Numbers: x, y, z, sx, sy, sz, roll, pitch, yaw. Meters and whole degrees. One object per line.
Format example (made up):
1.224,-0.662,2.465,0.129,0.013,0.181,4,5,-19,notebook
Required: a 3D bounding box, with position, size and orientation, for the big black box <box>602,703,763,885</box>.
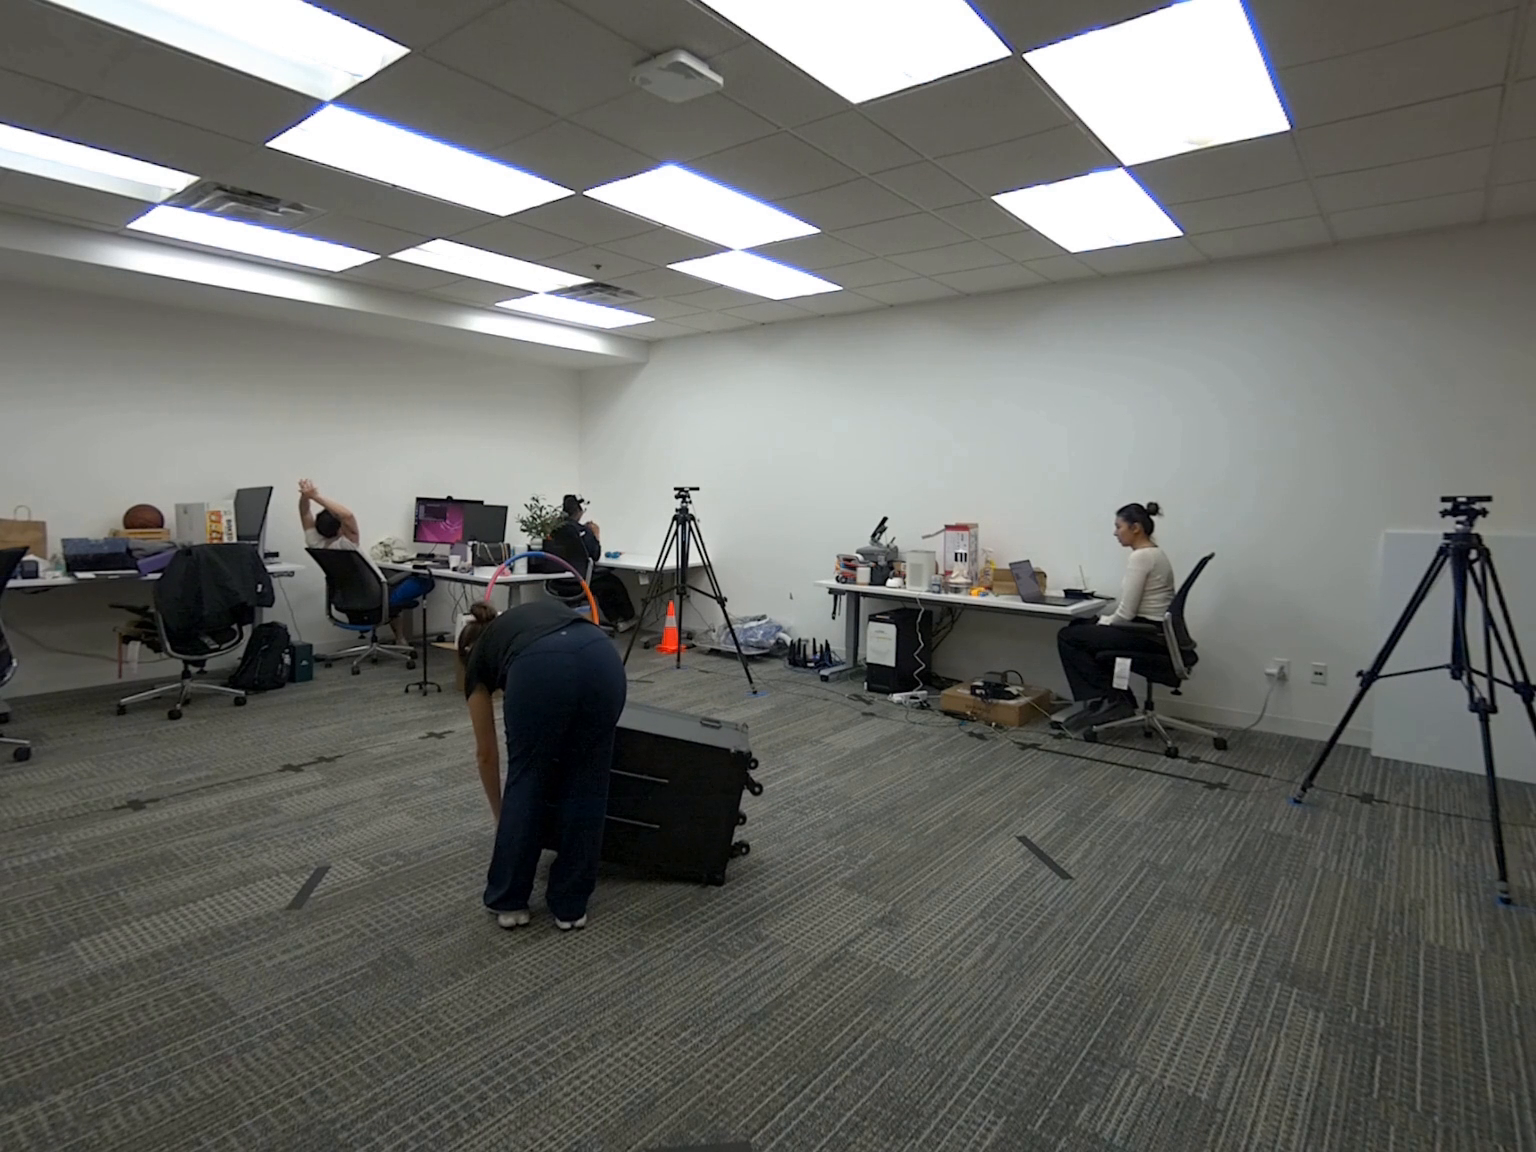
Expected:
-0.450,0.745,3.133,0.860,0.519,0.398,11,5,-2,big black box
